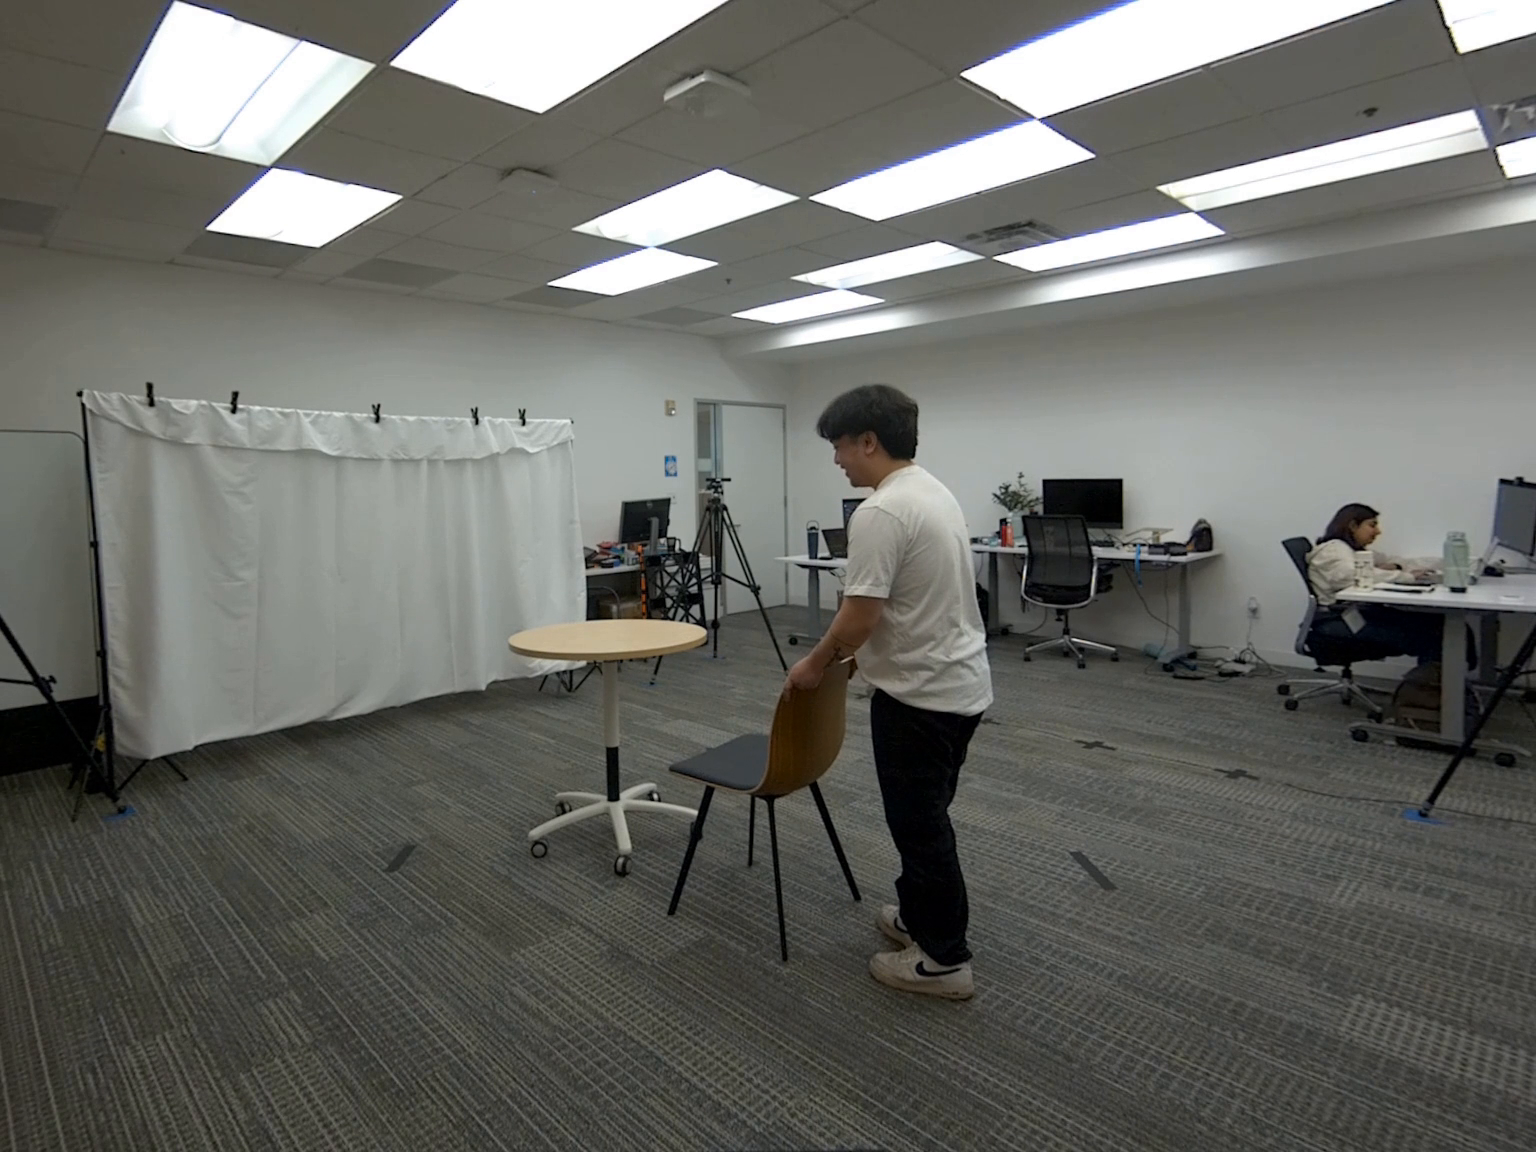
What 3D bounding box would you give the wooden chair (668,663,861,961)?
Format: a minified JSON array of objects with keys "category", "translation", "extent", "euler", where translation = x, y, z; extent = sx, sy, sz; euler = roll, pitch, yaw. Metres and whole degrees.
[{"category":"wooden chair","translation":[-0.017,0.653,2.753],"extent":[0.540,0.872,0.466],"euler":[8,9,37]}]
